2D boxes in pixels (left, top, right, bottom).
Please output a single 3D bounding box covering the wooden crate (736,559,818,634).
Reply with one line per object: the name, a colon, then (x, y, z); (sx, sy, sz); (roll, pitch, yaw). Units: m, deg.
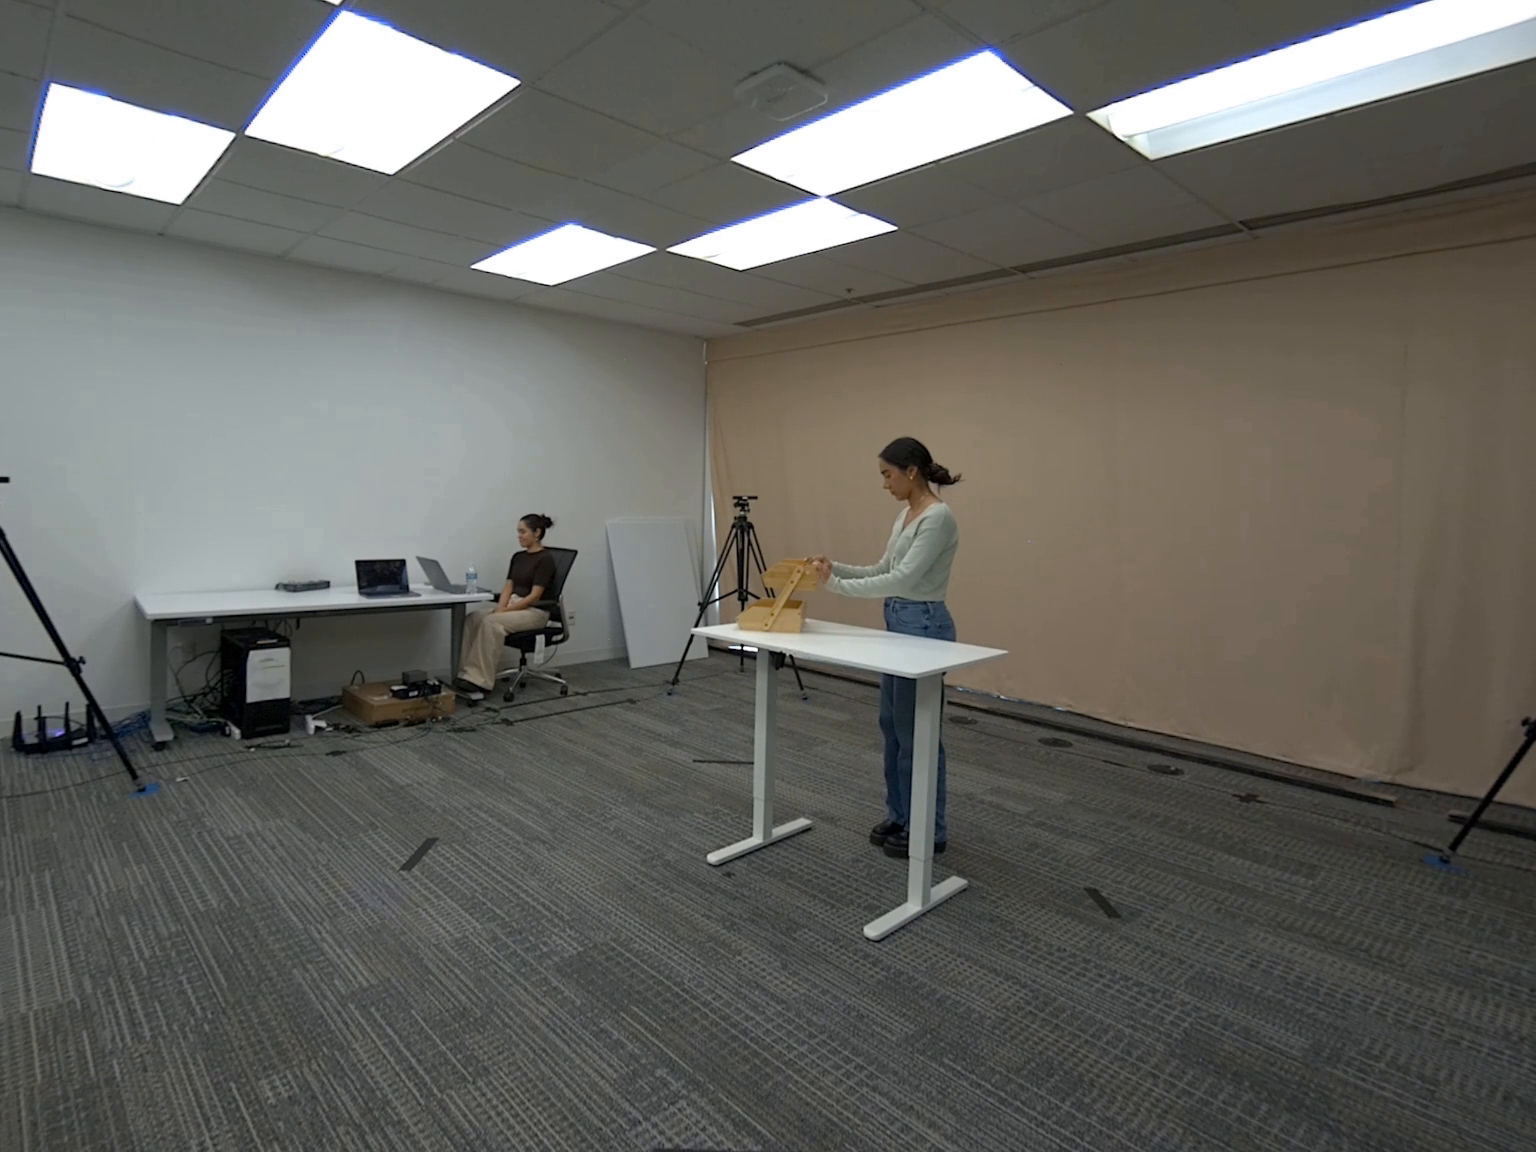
wooden crate: (0.043, 0.067, 3.338); (0.304, 0.272, 0.323); (3, 6, 9)
